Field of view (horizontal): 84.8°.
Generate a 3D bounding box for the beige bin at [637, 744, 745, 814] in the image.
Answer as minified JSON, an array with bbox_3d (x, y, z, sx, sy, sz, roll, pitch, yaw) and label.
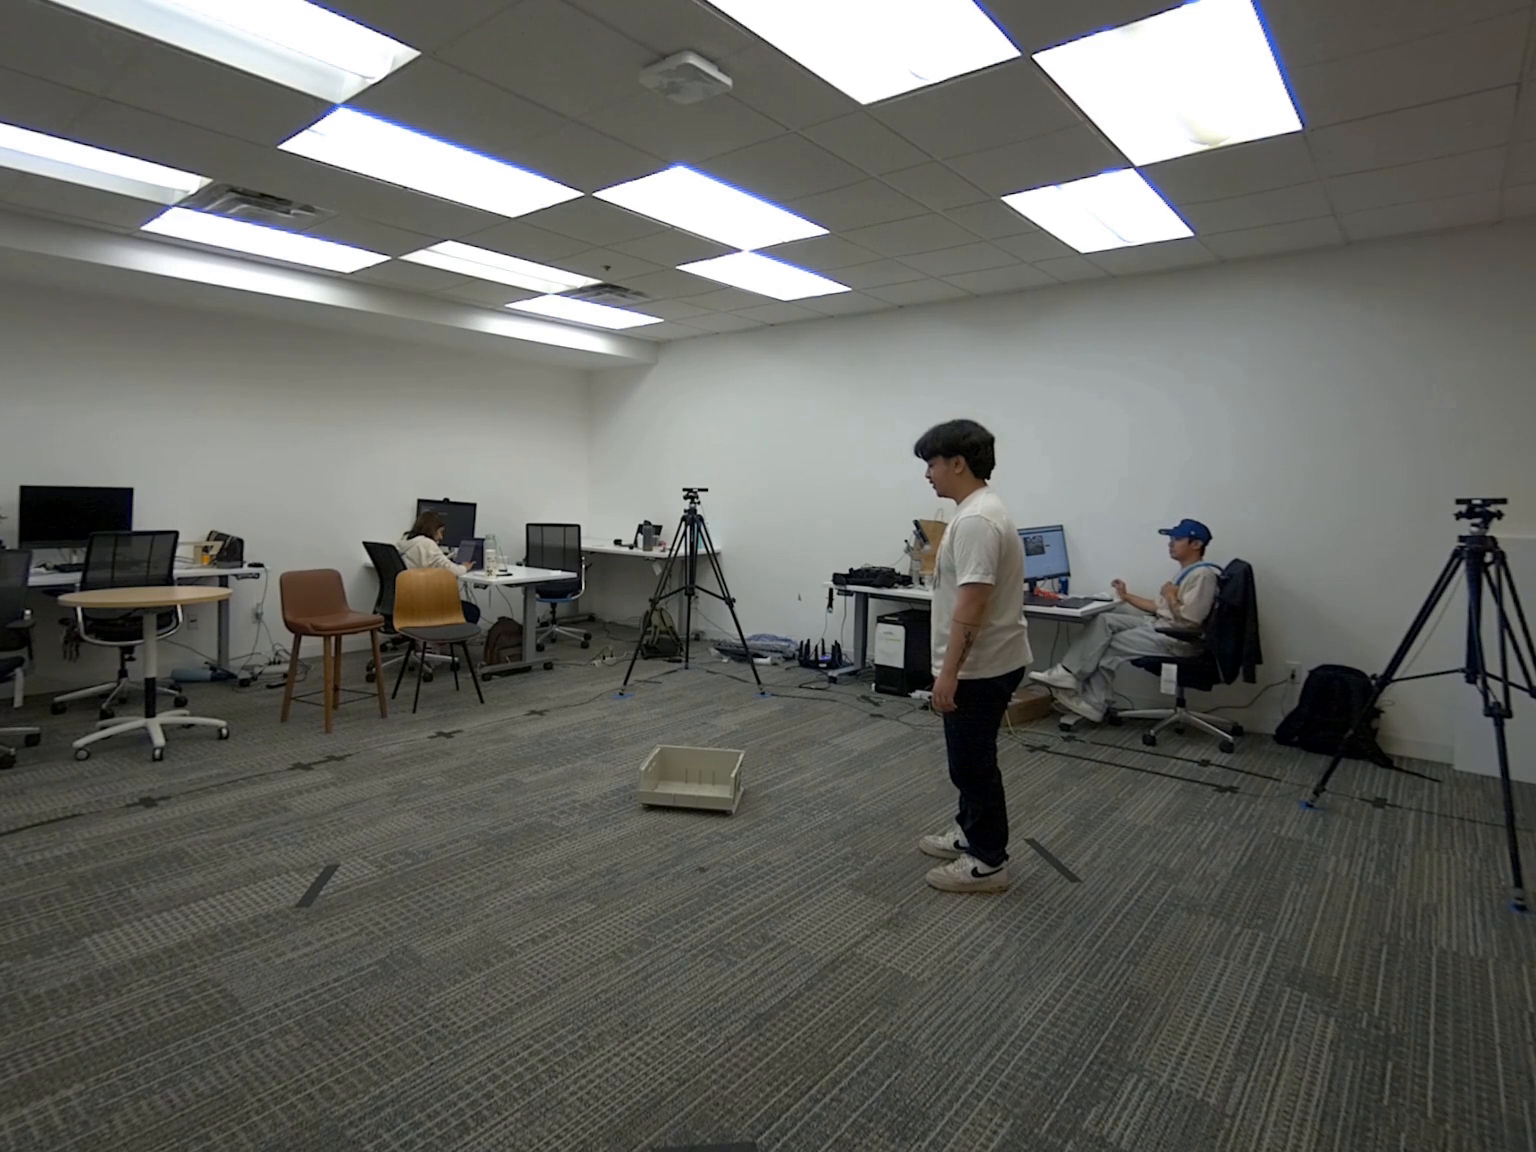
[{"bbox_3d":[-0.344,0.912,3.813,0.426,0.188,0.375,1,4,7],"label":"beige bin"}]
